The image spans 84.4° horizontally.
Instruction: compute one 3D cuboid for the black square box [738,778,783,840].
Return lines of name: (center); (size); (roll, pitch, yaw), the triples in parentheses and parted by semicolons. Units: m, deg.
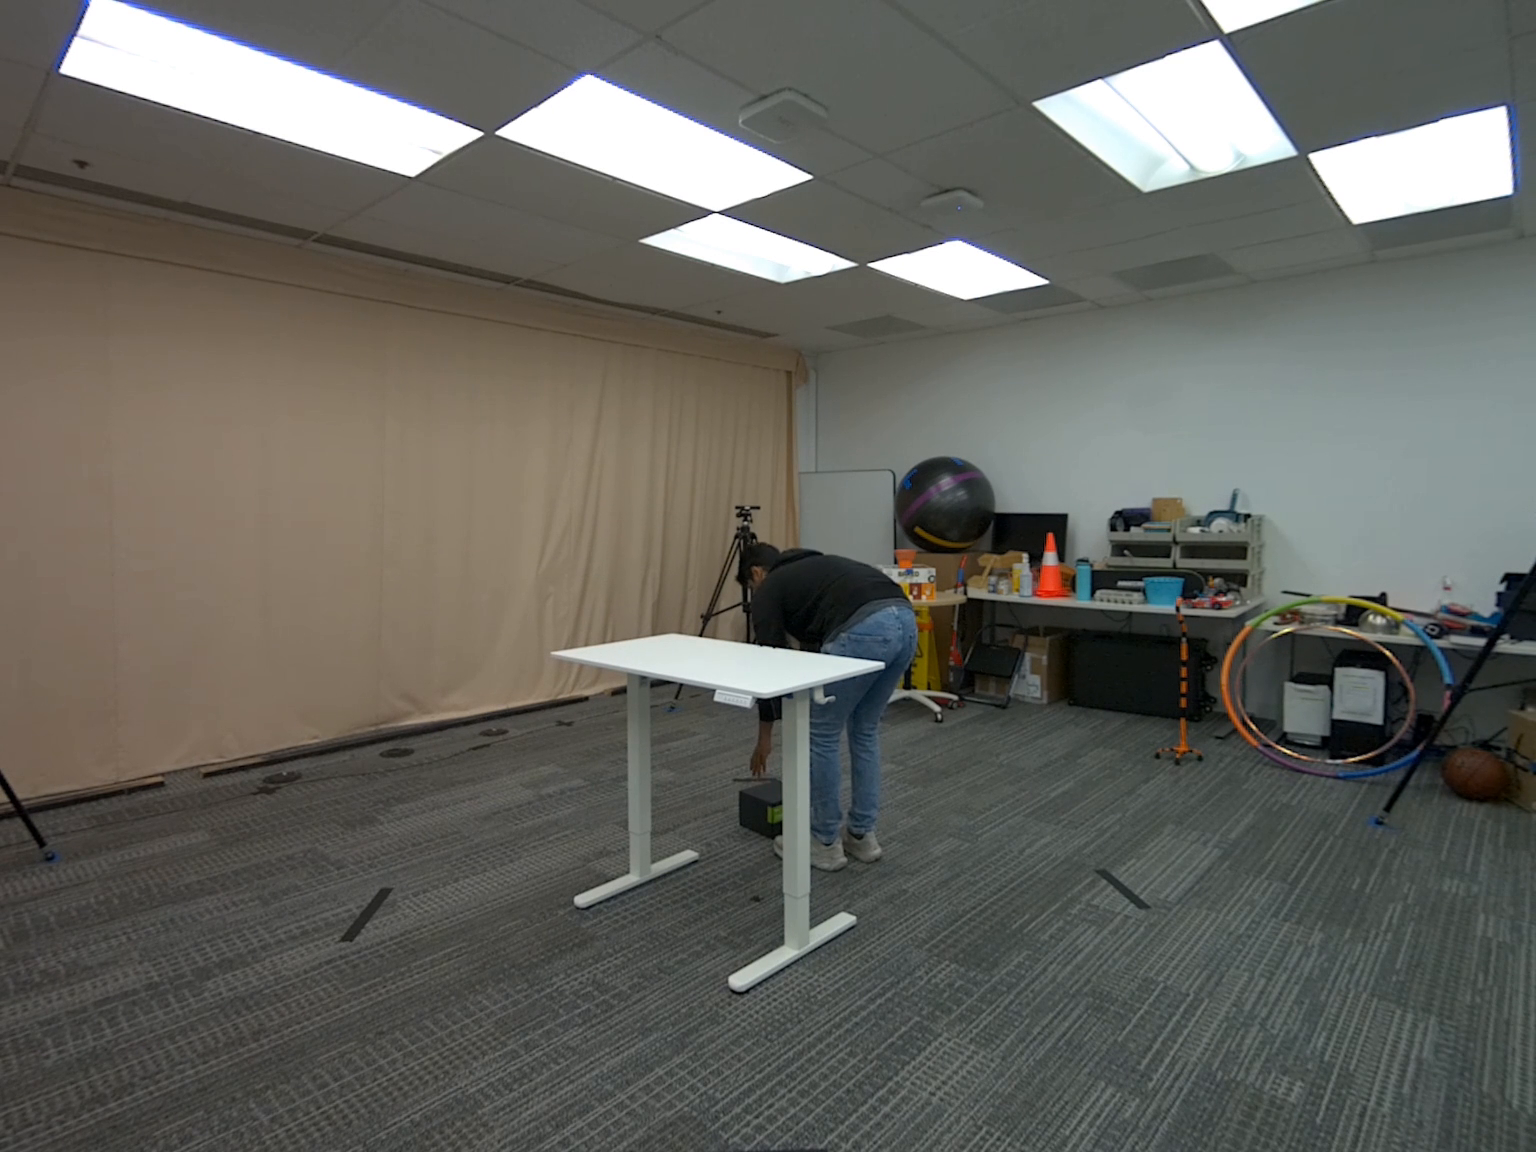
black square box: (0.031, 1.006, 3.653); (0.221, 0.155, 0.224); (-4, 5, -42)
